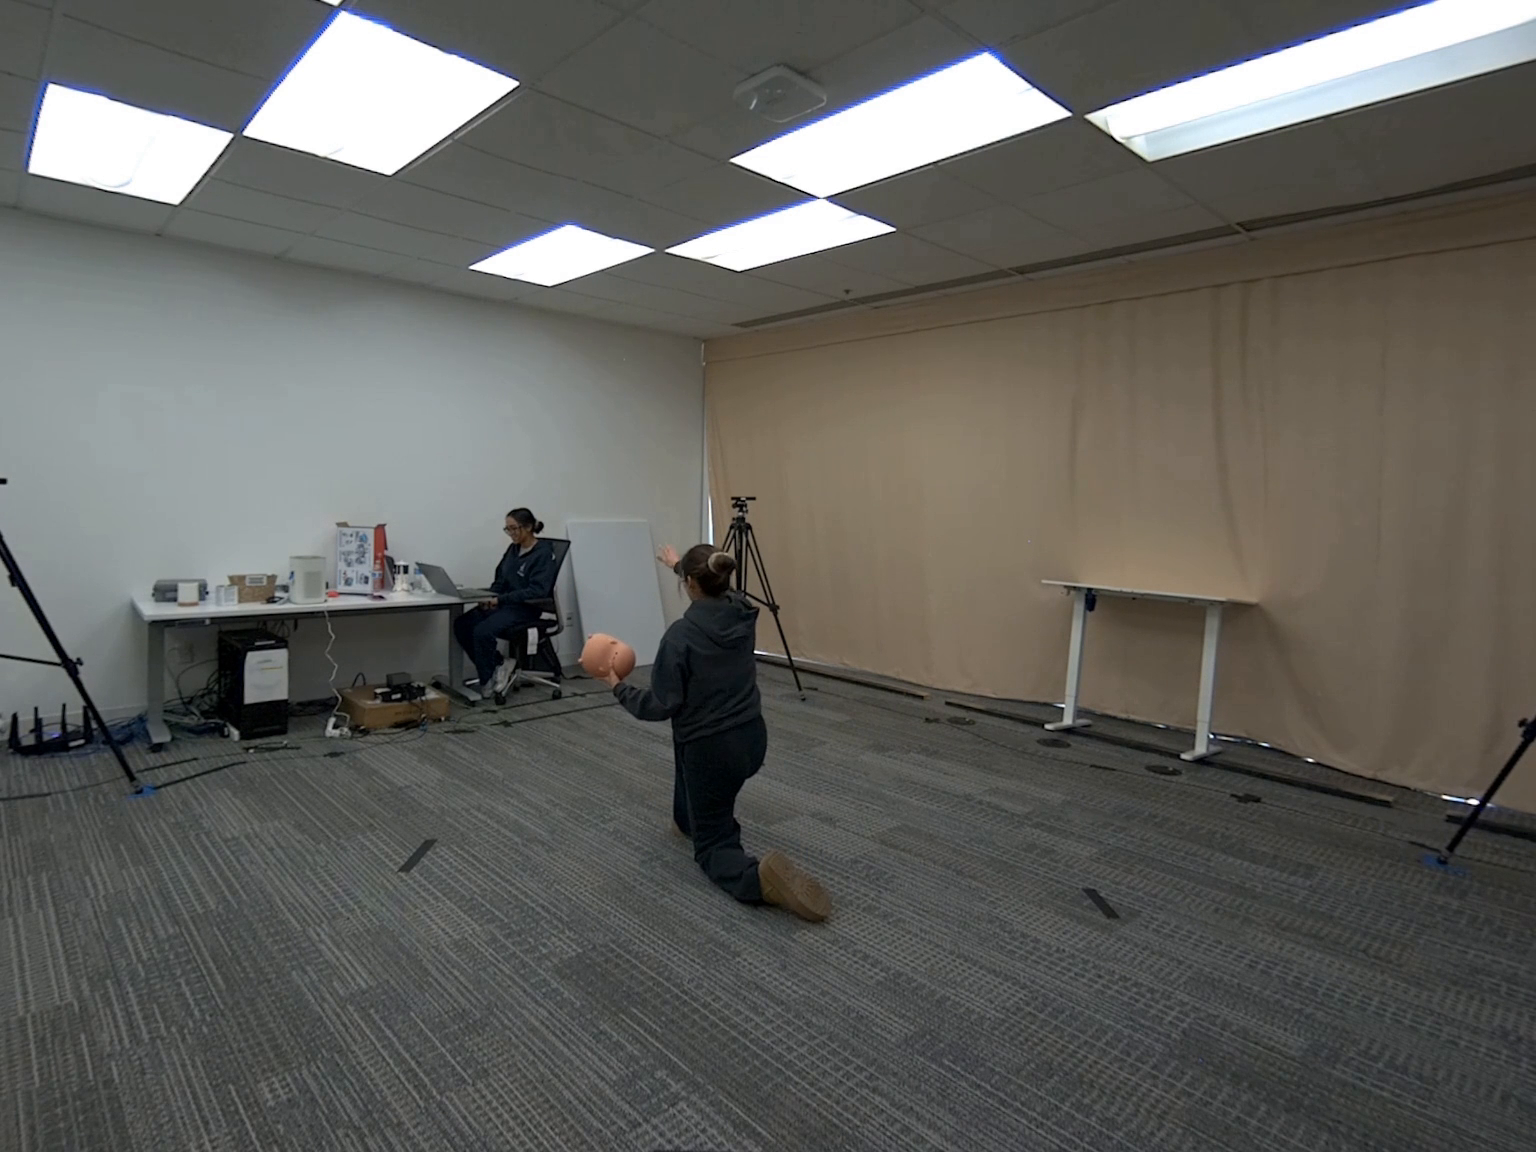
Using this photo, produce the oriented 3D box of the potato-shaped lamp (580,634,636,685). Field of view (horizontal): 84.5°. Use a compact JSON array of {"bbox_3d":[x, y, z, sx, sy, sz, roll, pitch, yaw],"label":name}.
[{"bbox_3d":[-0.619,0.317,3.270,0.201,0.166,0.167,12,-20,18],"label":"potato-shaped lamp"}]
